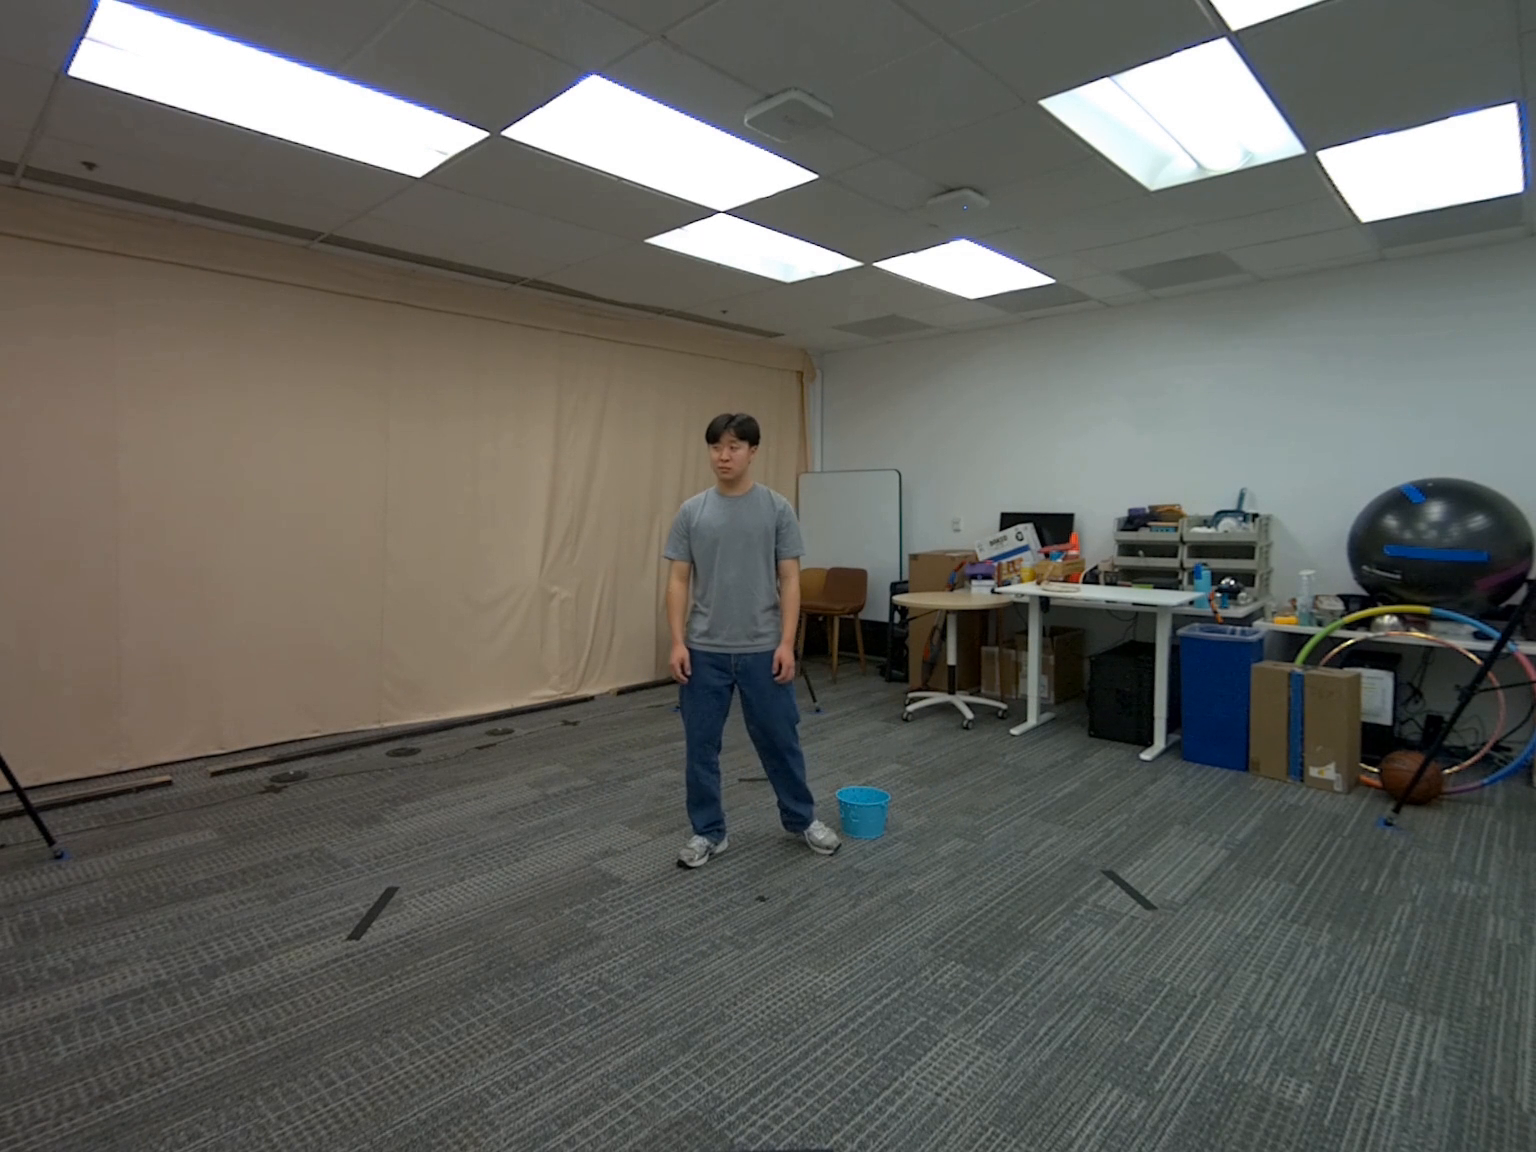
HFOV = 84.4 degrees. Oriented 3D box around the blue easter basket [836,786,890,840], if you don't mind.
[{"bbox_3d":[0.414,1.011,3.608,0.243,0.155,0.244,-1,5,-2],"label":"blue easter basket"}]
